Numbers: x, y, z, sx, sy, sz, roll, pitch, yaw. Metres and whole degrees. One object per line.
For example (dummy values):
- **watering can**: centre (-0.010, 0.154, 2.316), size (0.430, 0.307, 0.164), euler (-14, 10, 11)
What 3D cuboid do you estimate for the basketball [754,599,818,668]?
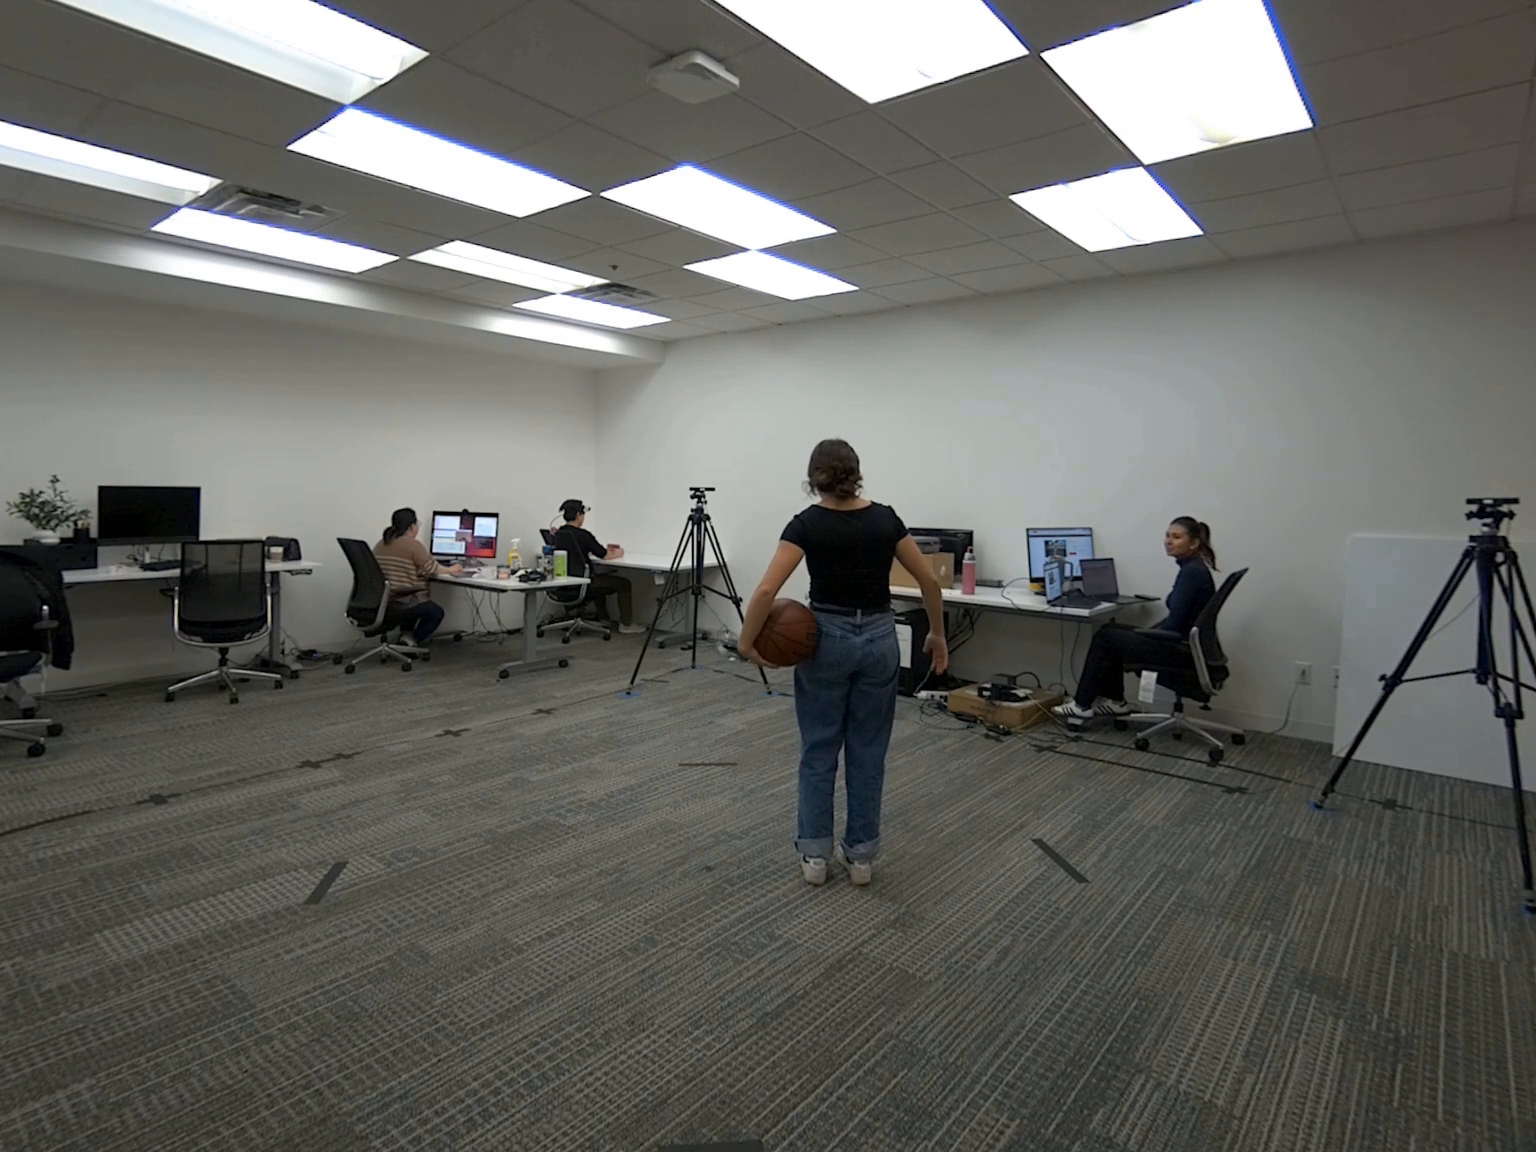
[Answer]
- **basketball**: centre (0.041, 0.183, 2.982), size (0.235, 0.235, 0.237), euler (1, 4, -2)
